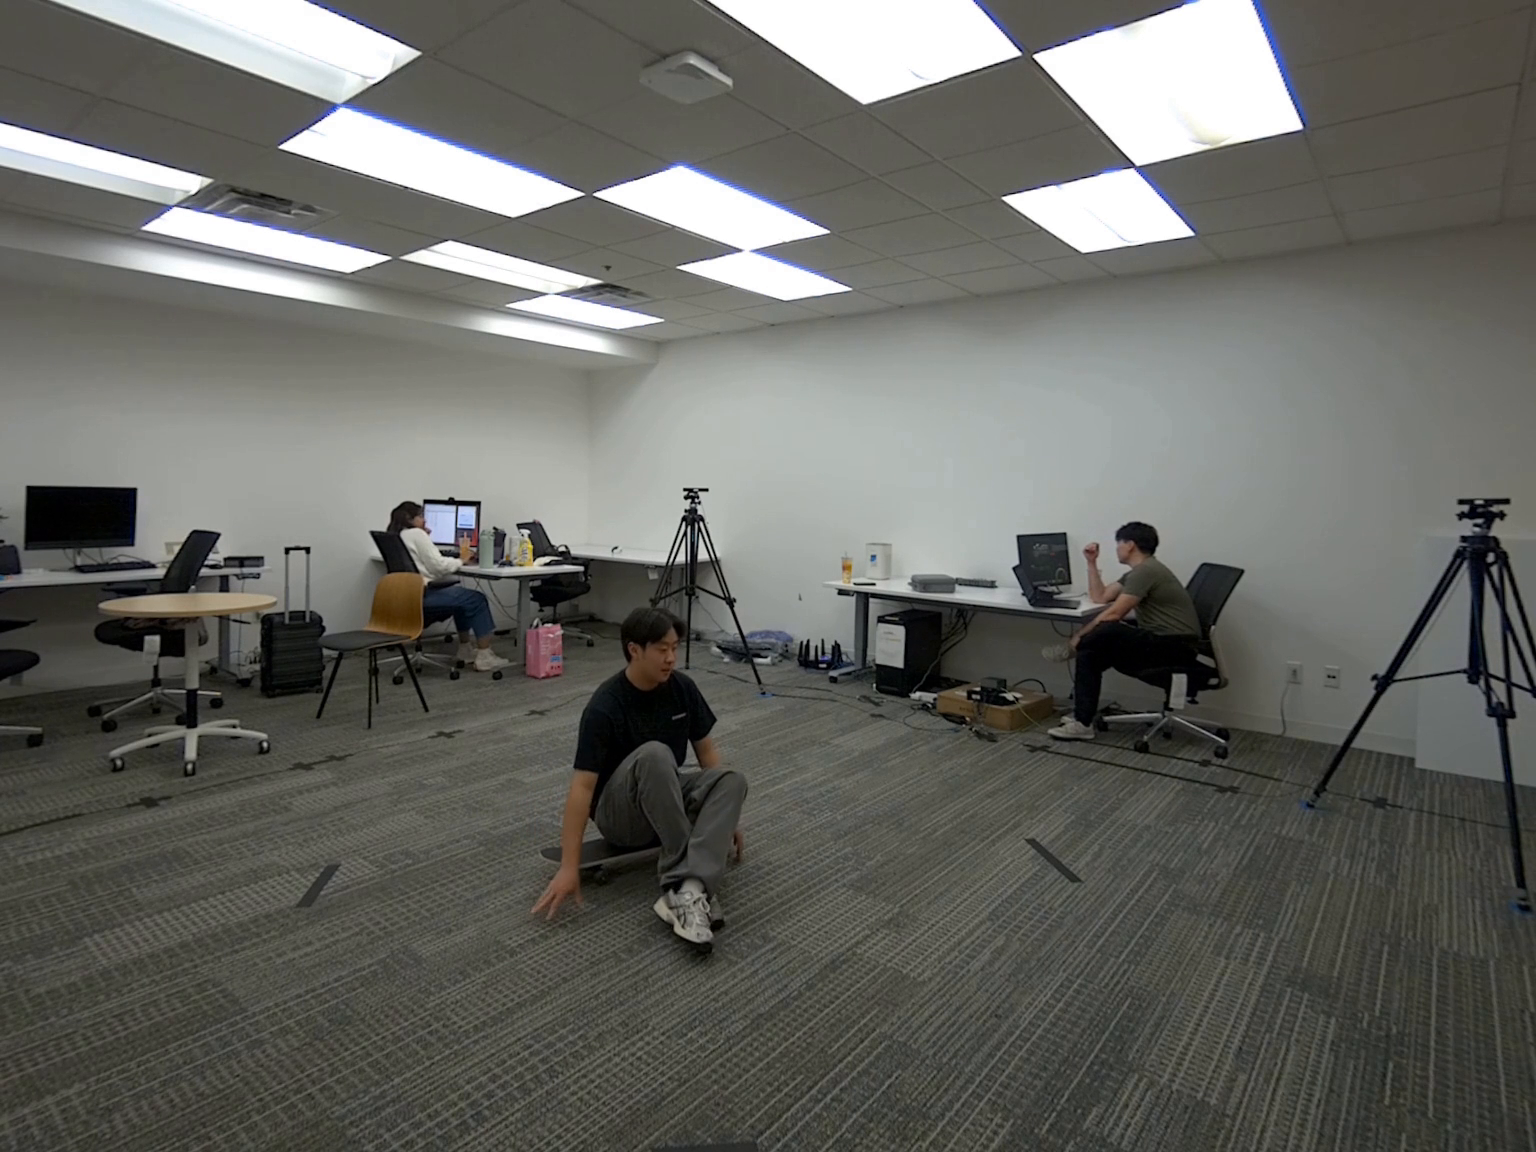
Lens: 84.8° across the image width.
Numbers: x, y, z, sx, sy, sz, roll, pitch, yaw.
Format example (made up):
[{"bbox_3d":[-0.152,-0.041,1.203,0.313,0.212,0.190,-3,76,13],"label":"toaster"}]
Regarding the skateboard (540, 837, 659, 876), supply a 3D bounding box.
[{"bbox_3d":[-0.474,1.007,3.146,0.764,0.110,0.199,-1,2,-31],"label":"skateboard"}]
